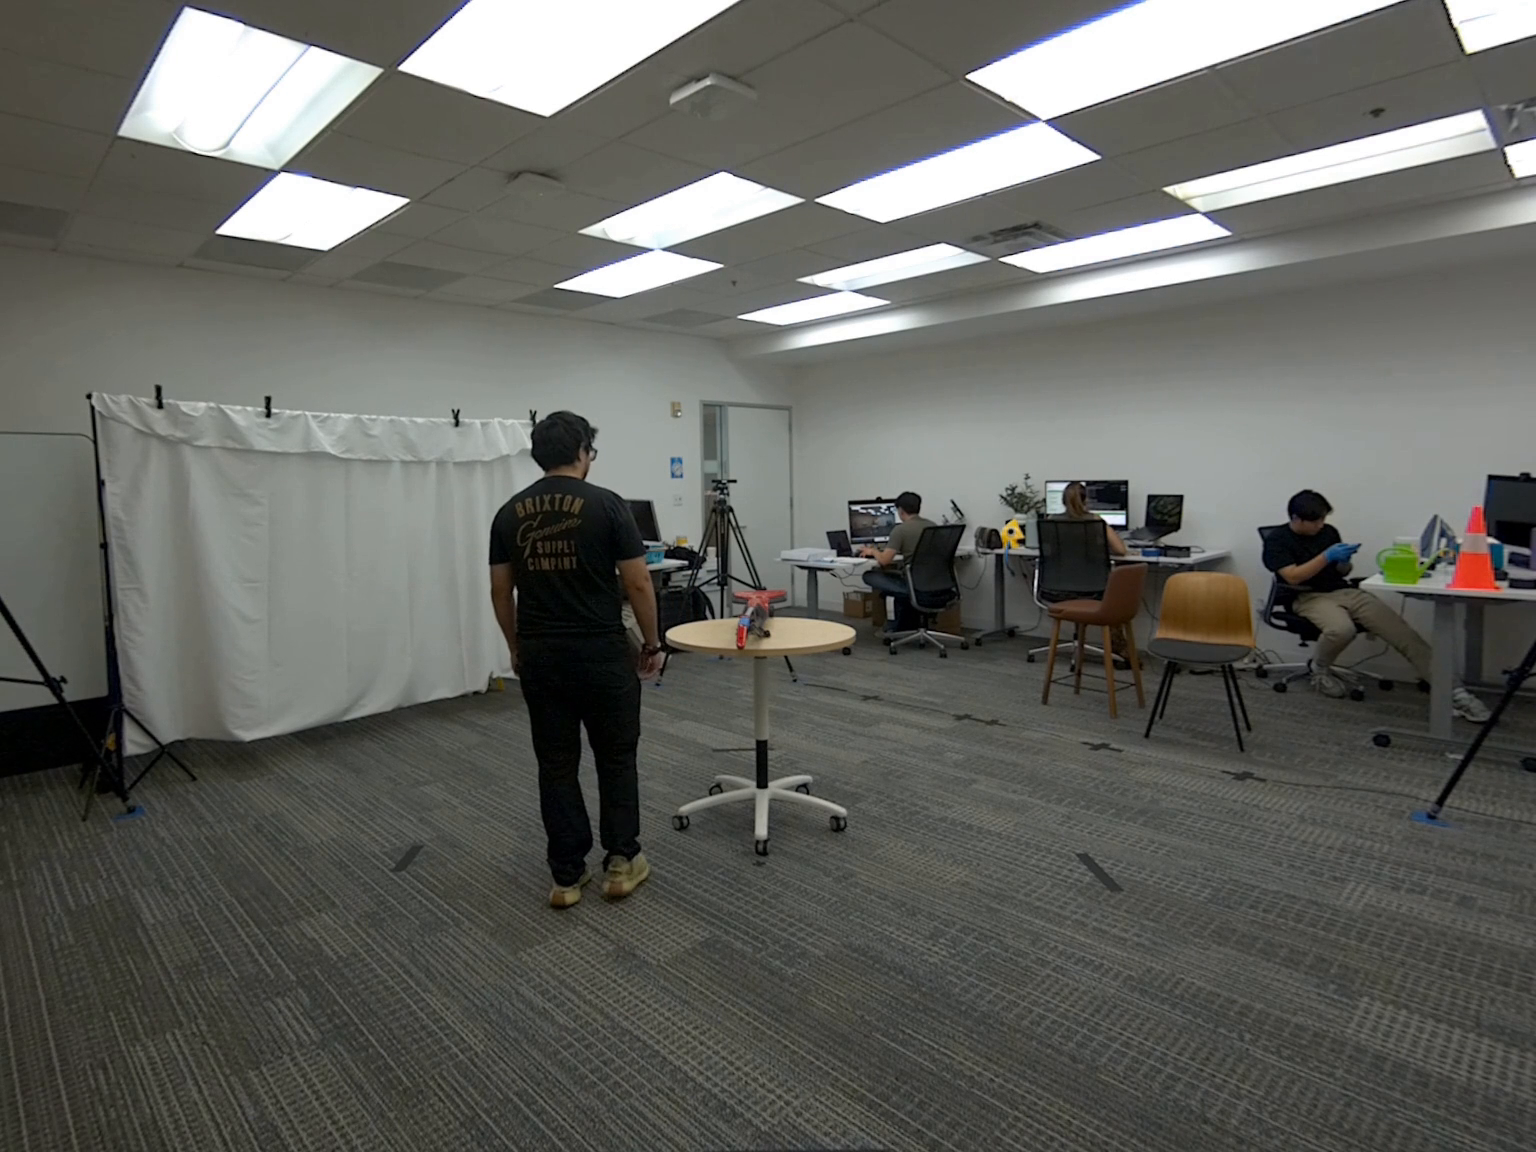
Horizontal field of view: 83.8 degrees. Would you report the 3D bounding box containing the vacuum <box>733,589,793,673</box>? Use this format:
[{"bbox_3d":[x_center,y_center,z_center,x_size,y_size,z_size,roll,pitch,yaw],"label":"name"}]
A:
[{"bbox_3d":[-0.063,0.178,3.348,0.254,0.143,1.048,1,5,3],"label":"vacuum"}]
